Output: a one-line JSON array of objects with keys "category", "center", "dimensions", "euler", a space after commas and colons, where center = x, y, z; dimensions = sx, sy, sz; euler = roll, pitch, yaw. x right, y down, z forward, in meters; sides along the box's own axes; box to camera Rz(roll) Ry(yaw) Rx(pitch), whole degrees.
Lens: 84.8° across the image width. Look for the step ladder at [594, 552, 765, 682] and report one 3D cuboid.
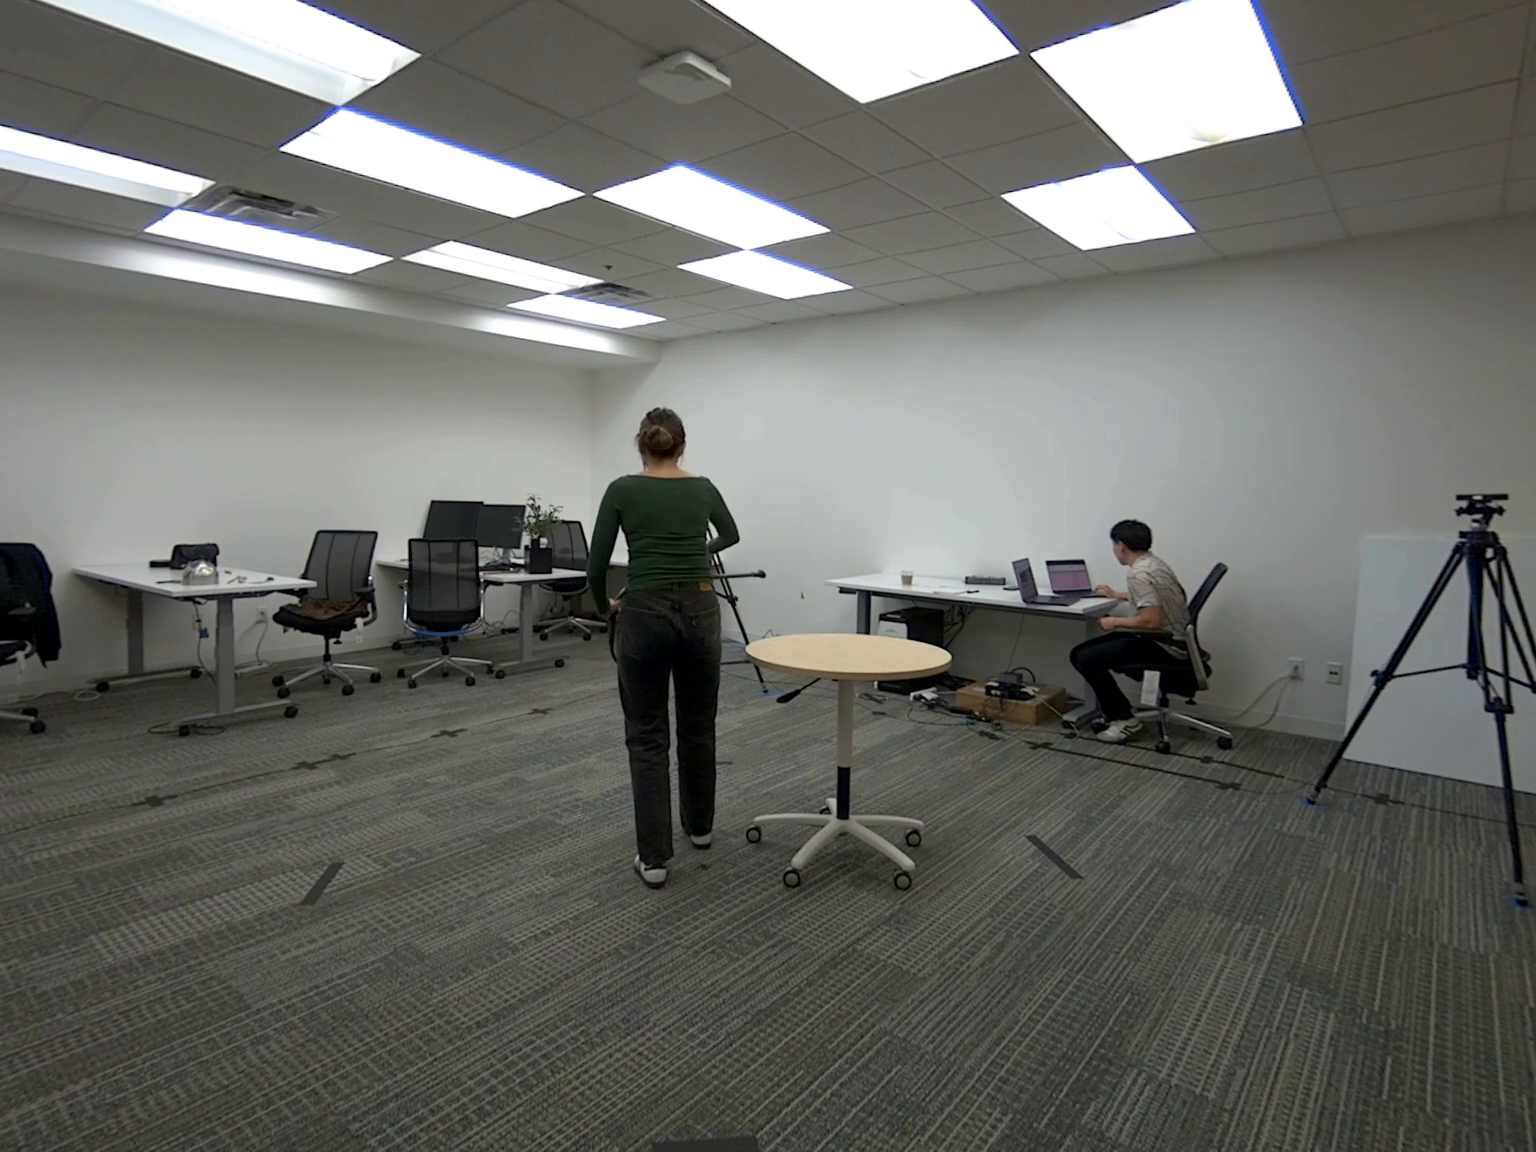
[{"category": "step ladder", "center": [-0.371, 0.175, 3.541], "dimensions": [0.590, 0.425, 0.363], "euler": [-12, 23, -43]}]
